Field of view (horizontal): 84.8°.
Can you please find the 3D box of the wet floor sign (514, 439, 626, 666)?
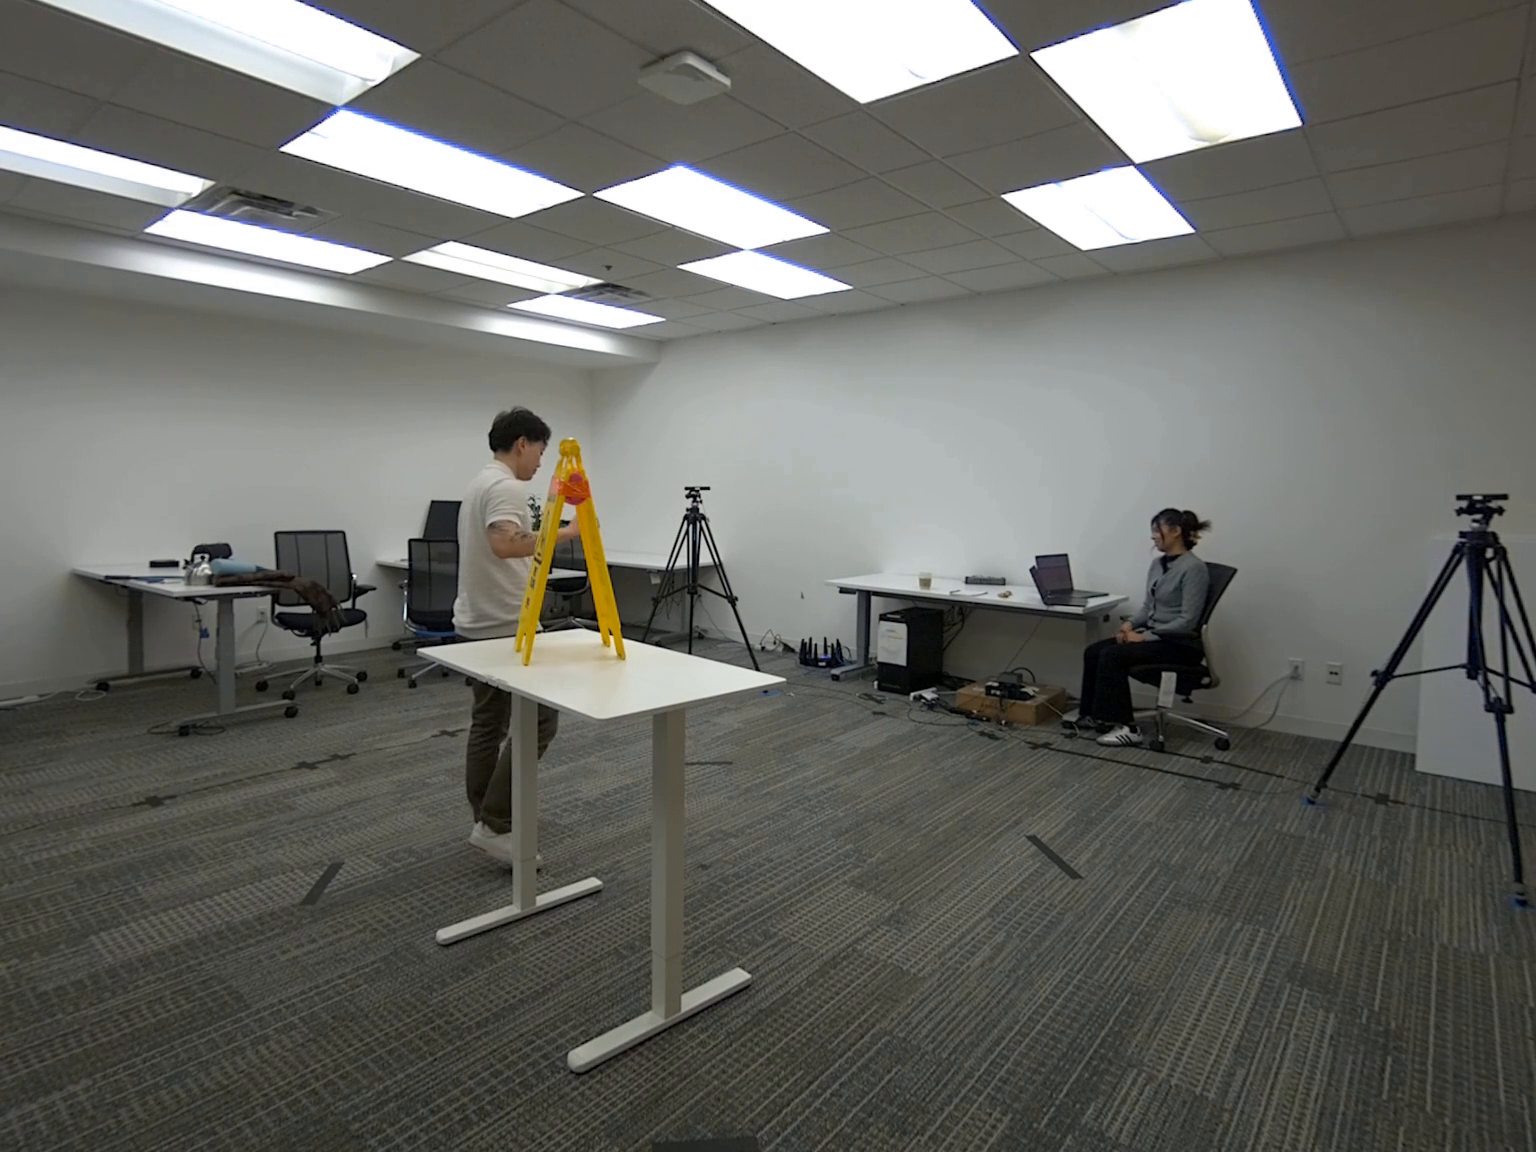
[{"bbox_3d":[-0.605,-0.086,2.550,0.284,0.643,0.289,0,5,-21],"label":"wet floor sign"}]
